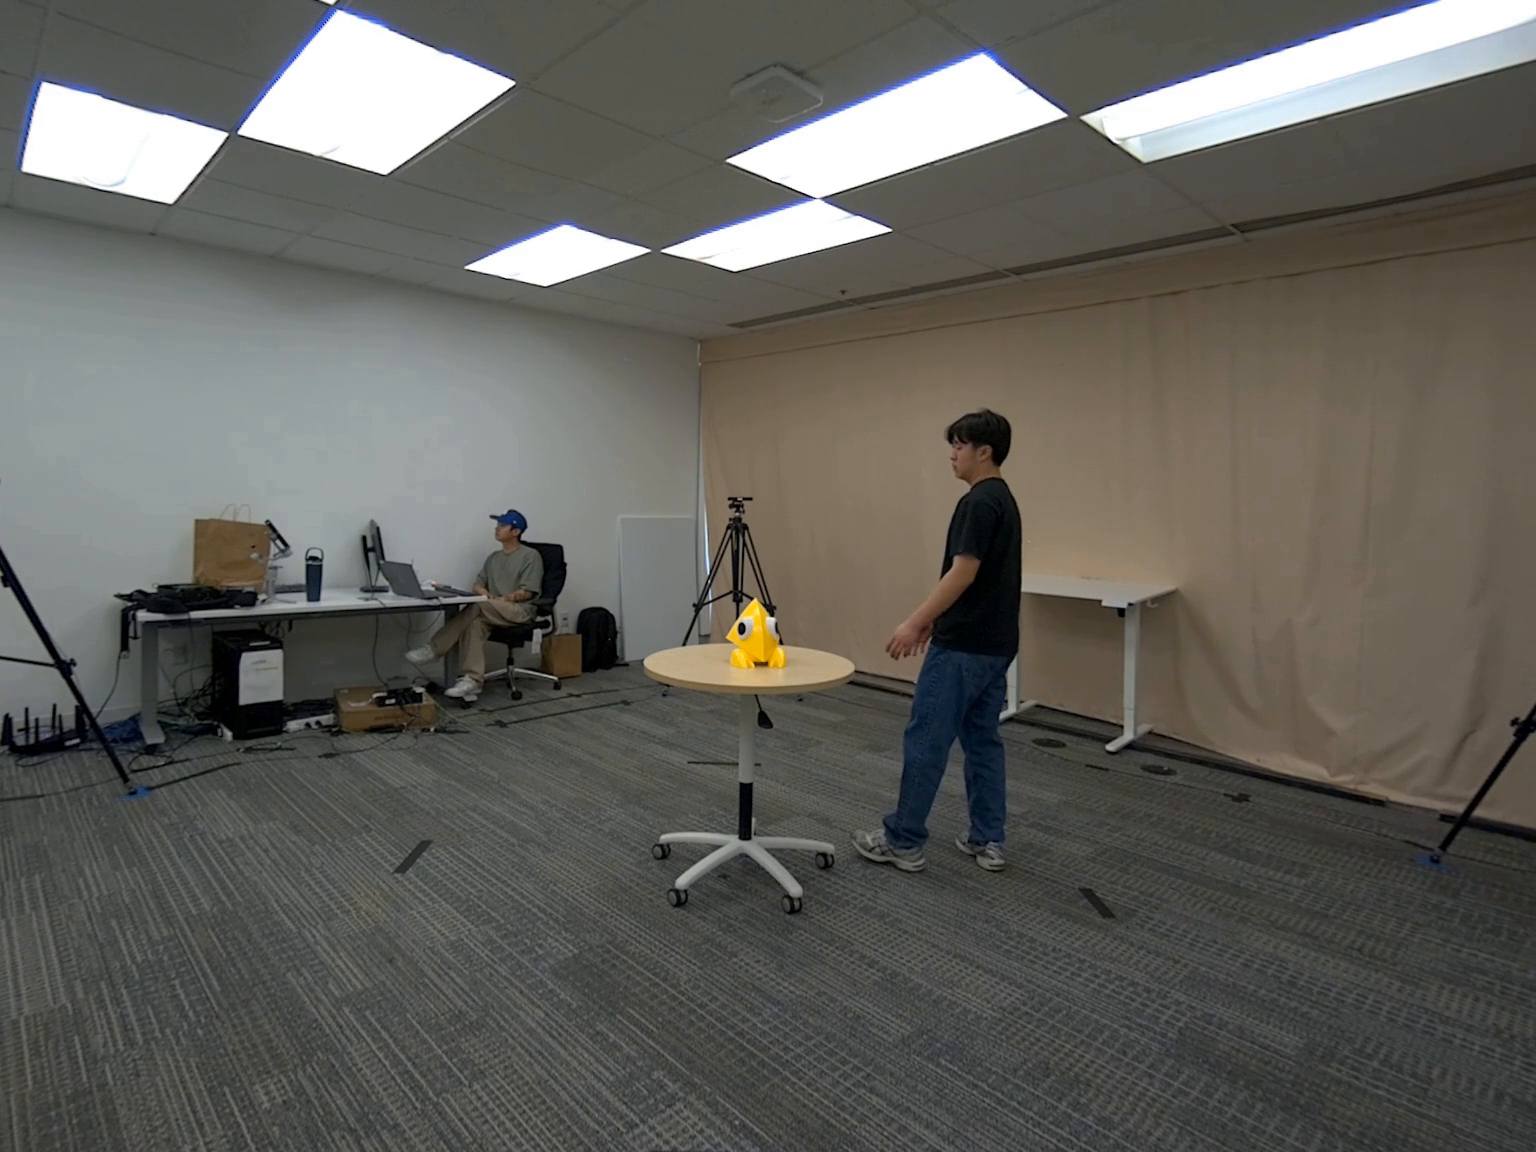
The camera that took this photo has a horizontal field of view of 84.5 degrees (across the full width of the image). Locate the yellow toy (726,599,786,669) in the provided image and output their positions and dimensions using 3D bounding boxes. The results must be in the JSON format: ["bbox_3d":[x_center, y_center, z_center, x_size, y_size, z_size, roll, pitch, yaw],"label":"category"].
[{"bbox_3d":[-0.041,0.201,3.047,0.203,0.230,0.195,0,3,-12],"label":"yellow toy"}]
